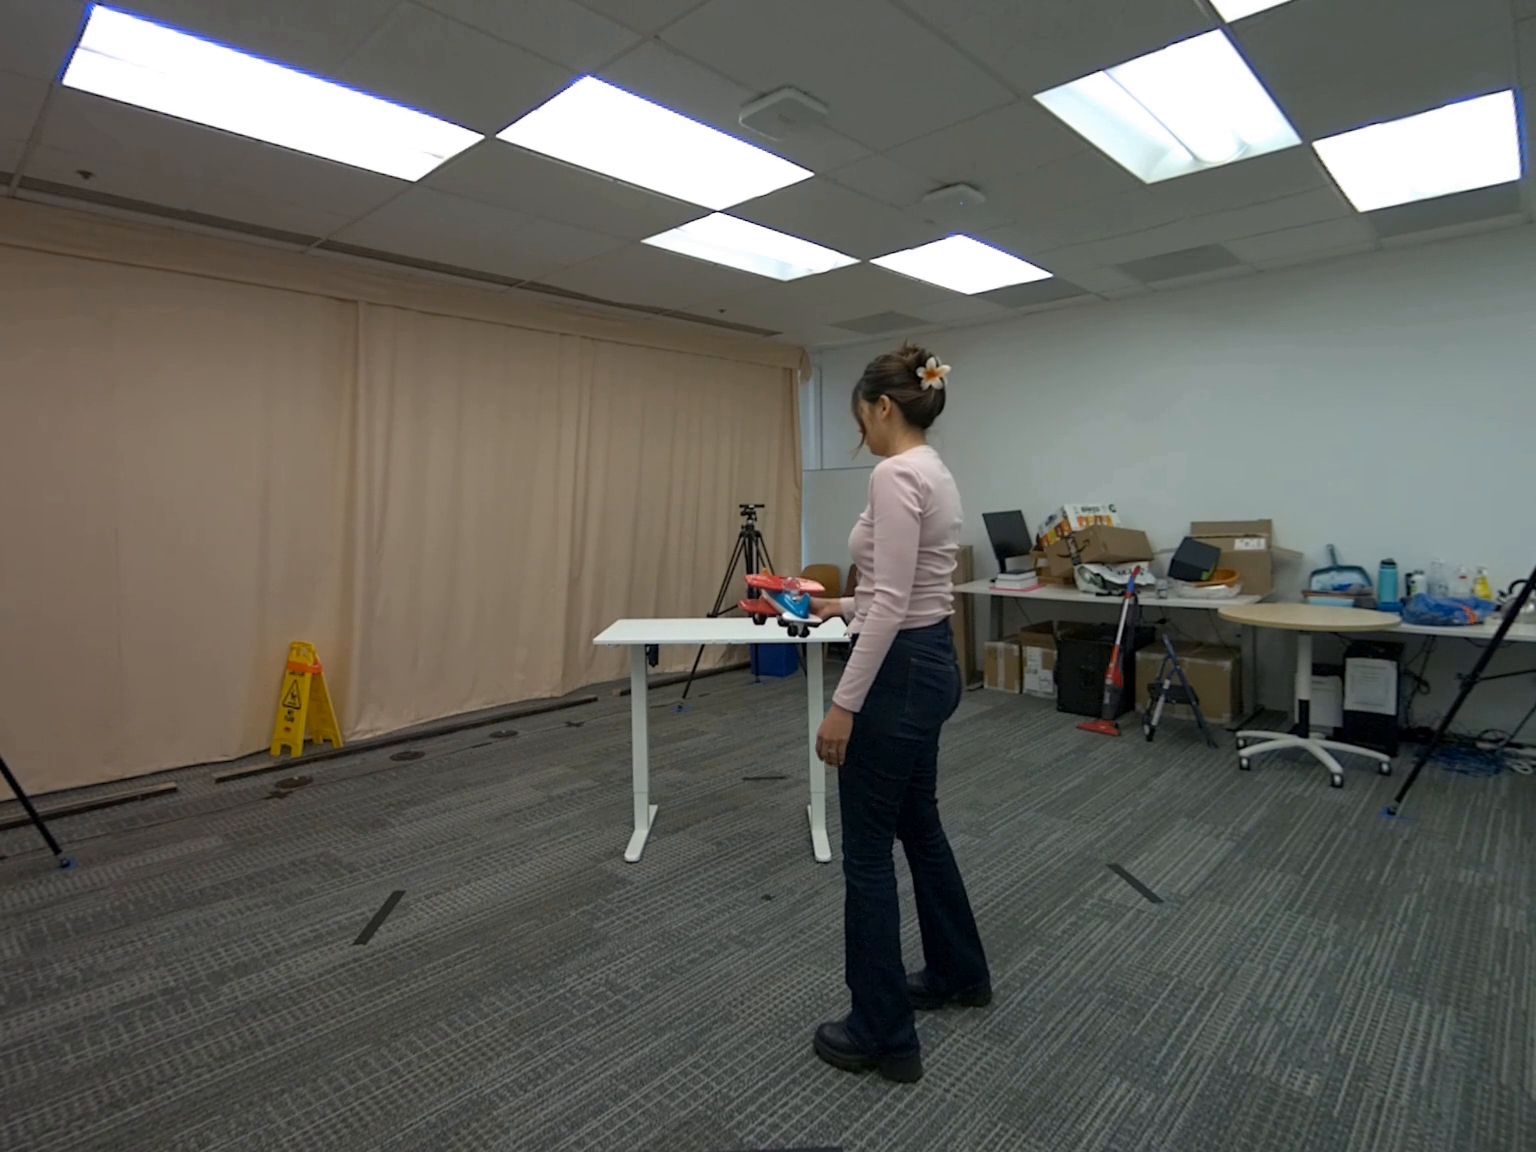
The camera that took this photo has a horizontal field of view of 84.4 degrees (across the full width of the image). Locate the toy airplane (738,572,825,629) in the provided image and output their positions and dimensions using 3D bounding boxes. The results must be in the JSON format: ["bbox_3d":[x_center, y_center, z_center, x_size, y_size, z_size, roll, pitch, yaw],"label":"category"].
[{"bbox_3d":[0.077,0.089,2.486,0.268,0.156,0.243,10,4,40],"label":"toy airplane"}]
